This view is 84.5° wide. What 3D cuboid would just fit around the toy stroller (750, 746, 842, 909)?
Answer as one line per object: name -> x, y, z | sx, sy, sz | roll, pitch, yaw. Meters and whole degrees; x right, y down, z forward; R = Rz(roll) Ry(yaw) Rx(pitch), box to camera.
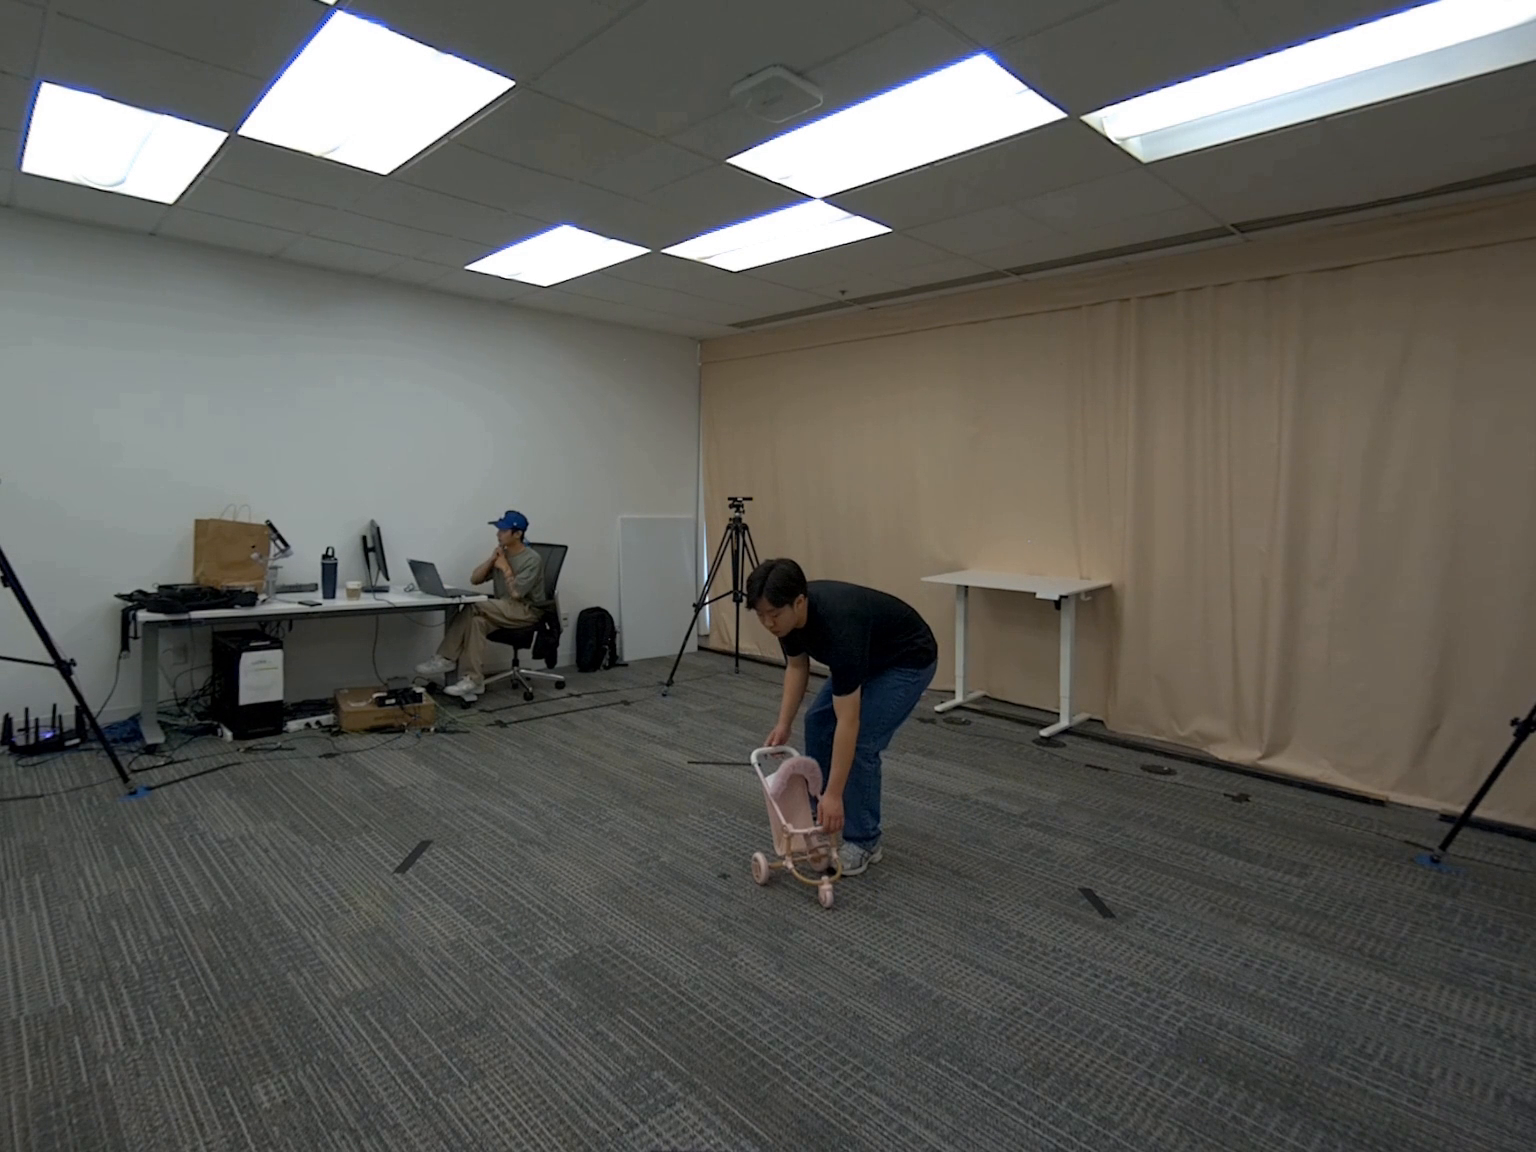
toy stroller -> 0.103, 0.889, 3.037 | 0.276, 0.539, 0.344 | 0, -11, -25
